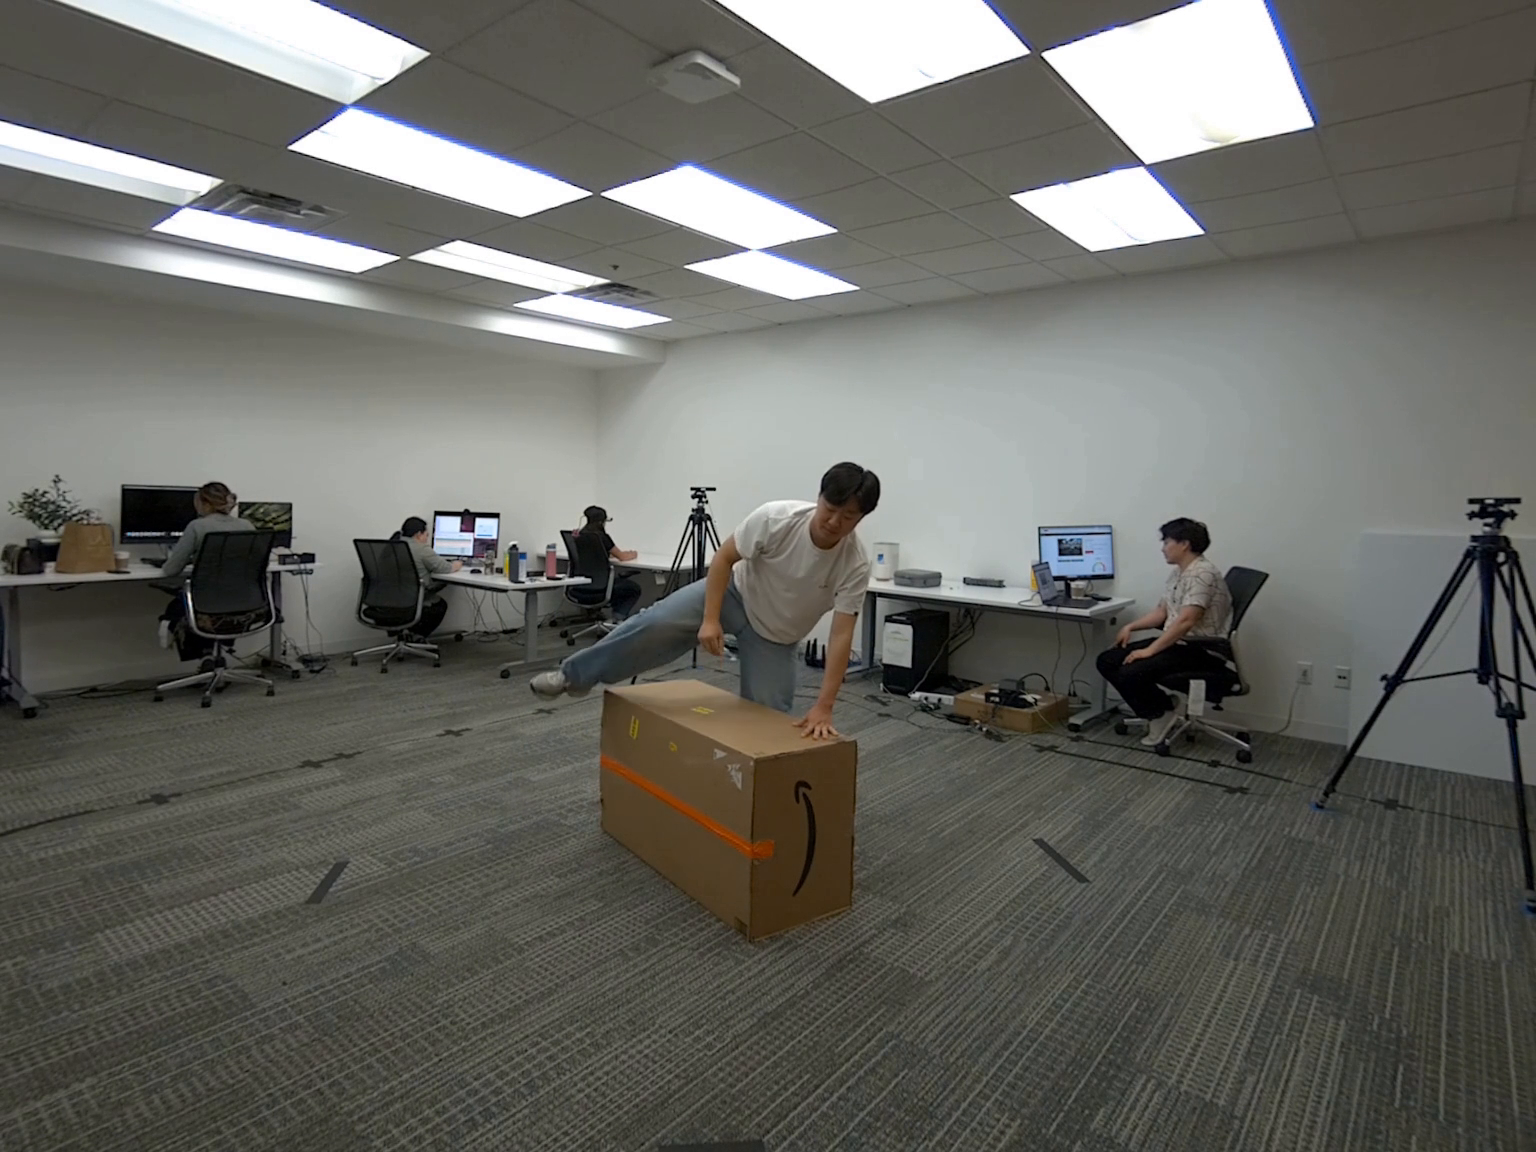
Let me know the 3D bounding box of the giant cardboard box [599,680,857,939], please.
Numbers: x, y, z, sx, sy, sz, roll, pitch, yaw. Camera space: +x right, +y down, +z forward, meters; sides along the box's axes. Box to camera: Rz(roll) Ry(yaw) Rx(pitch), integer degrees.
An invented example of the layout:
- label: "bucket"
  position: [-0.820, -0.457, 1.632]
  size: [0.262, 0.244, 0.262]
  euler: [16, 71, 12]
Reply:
- label: "giant cardboard box"
  position: [-0.200, 0.777, 3.118]
  size: [0.413, 0.576, 1.060]
  euler: [0, 5, -36]
